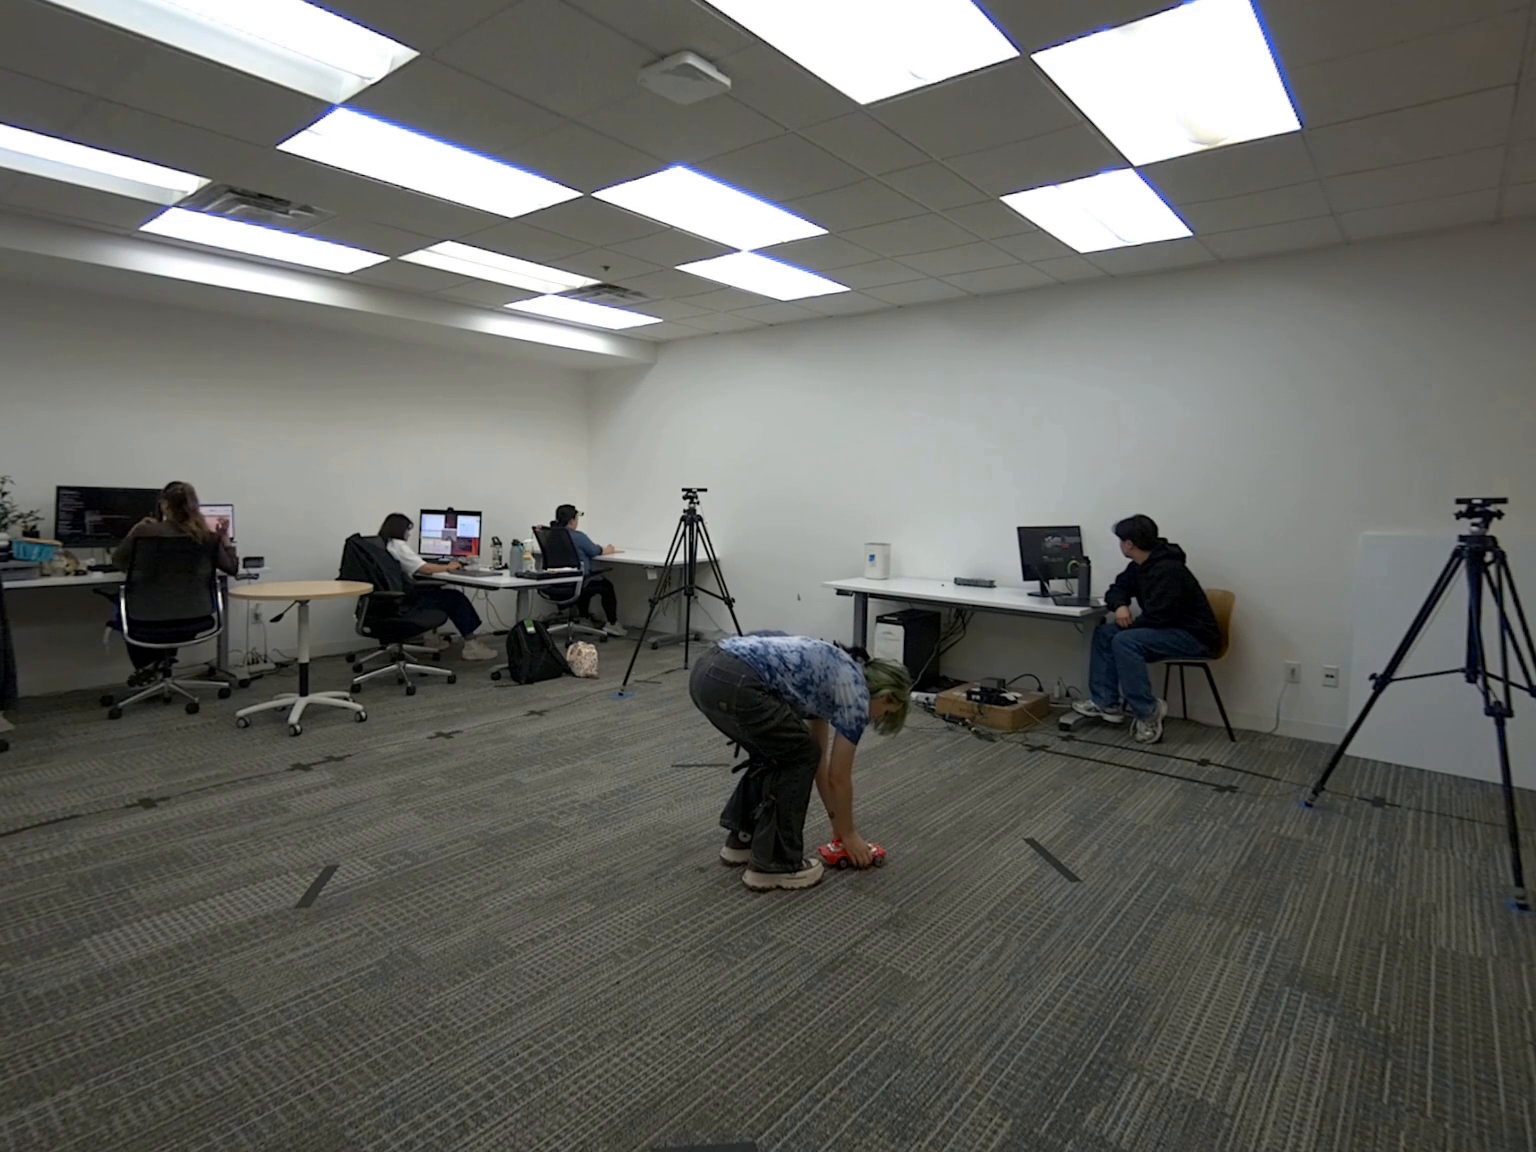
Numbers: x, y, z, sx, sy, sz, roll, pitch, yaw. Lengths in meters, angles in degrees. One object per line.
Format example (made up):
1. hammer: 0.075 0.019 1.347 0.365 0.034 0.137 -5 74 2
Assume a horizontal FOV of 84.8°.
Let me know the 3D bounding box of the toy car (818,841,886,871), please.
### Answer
1. toy car: 0.301 1.046 3.191 0.251 0.083 0.133 10 4 -13
